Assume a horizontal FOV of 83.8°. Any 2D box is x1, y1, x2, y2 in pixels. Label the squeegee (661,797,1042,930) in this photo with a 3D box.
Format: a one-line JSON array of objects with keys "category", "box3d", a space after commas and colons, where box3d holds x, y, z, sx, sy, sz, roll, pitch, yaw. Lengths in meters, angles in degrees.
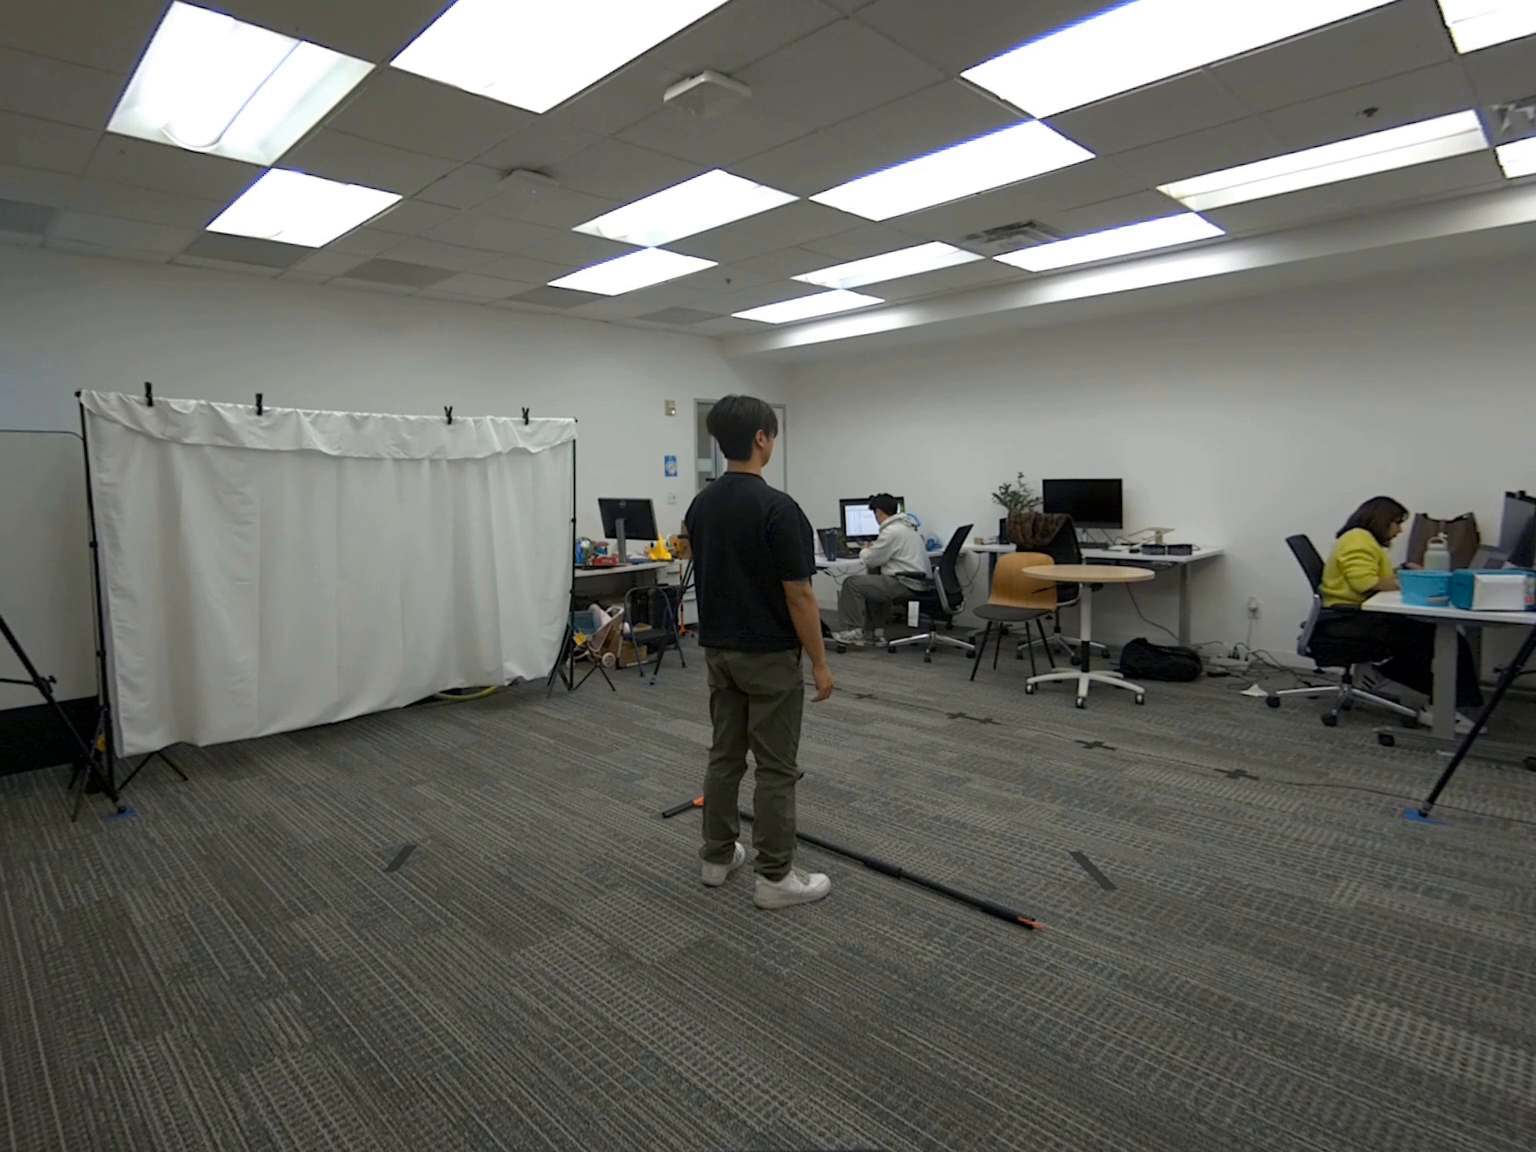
[{"category": "squeegee", "box3d": [0.255, 0.993, 3.145, 1.586, 0.052, 0.427, 6, 11, 45]}]
